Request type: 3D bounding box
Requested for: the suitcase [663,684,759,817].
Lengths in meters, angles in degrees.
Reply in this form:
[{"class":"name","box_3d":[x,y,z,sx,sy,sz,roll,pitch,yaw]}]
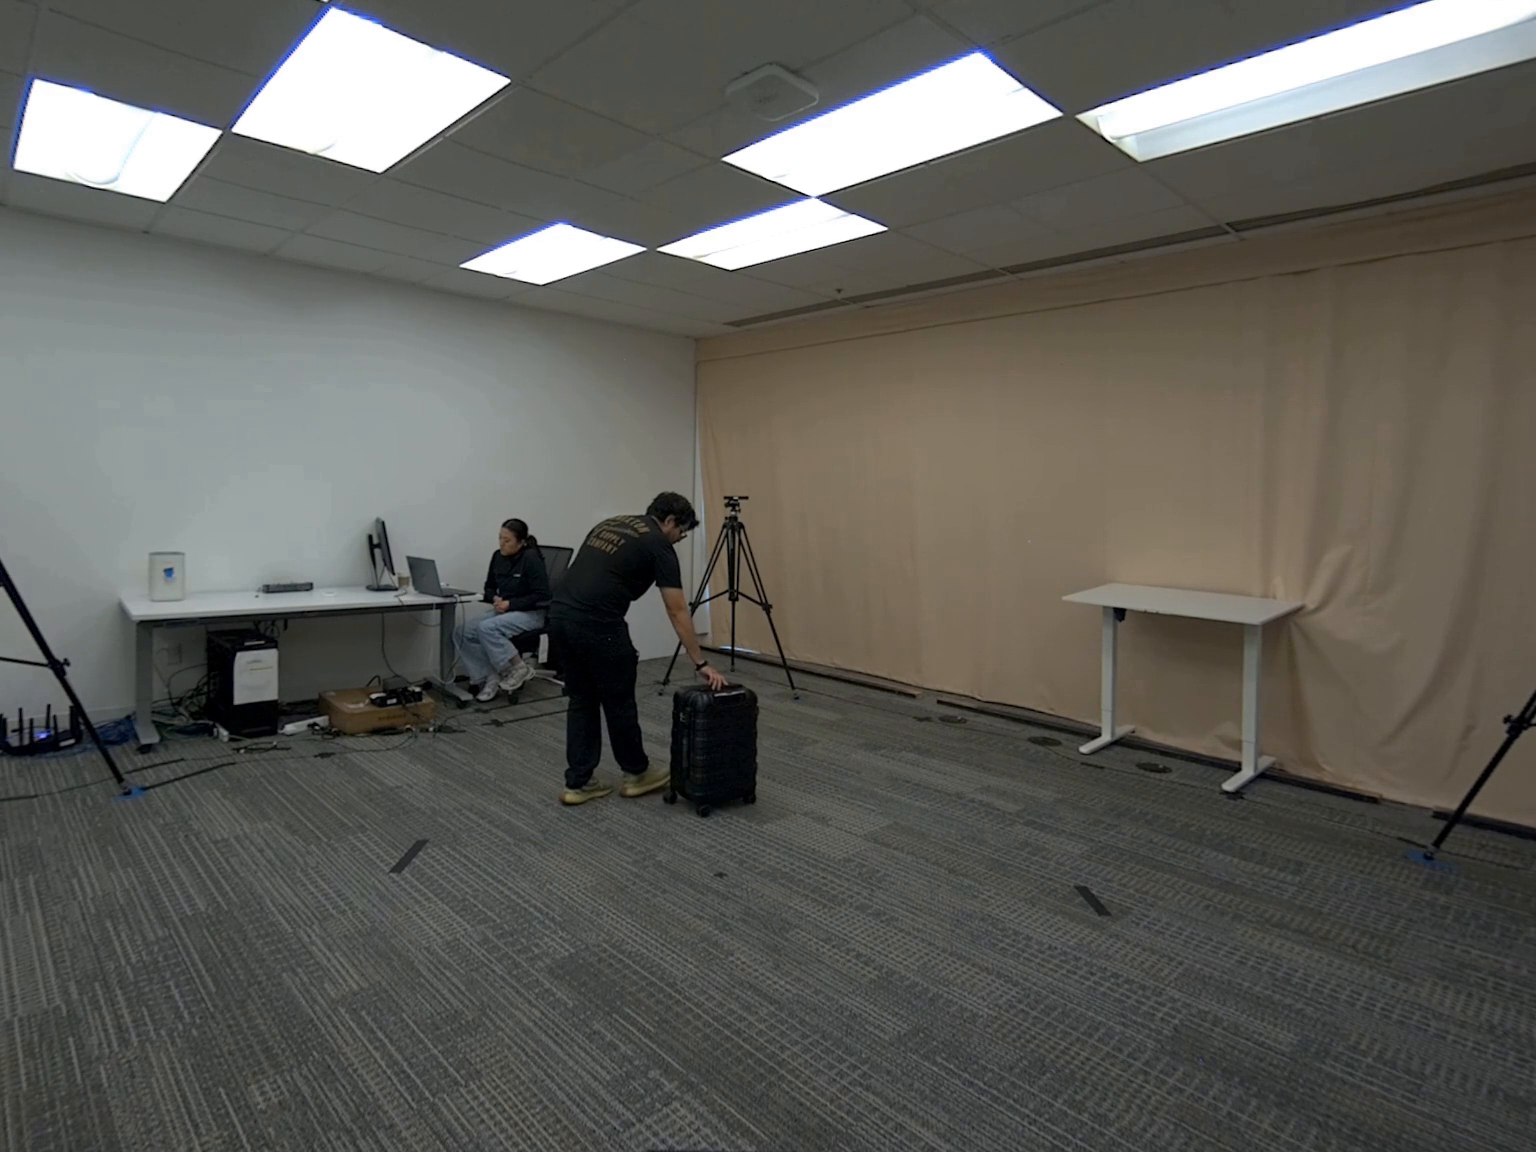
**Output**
[{"class":"suitcase","box_3d":[-0.253,0.761,3.826,0.367,0.548,0.254,-2,5,-37]}]
